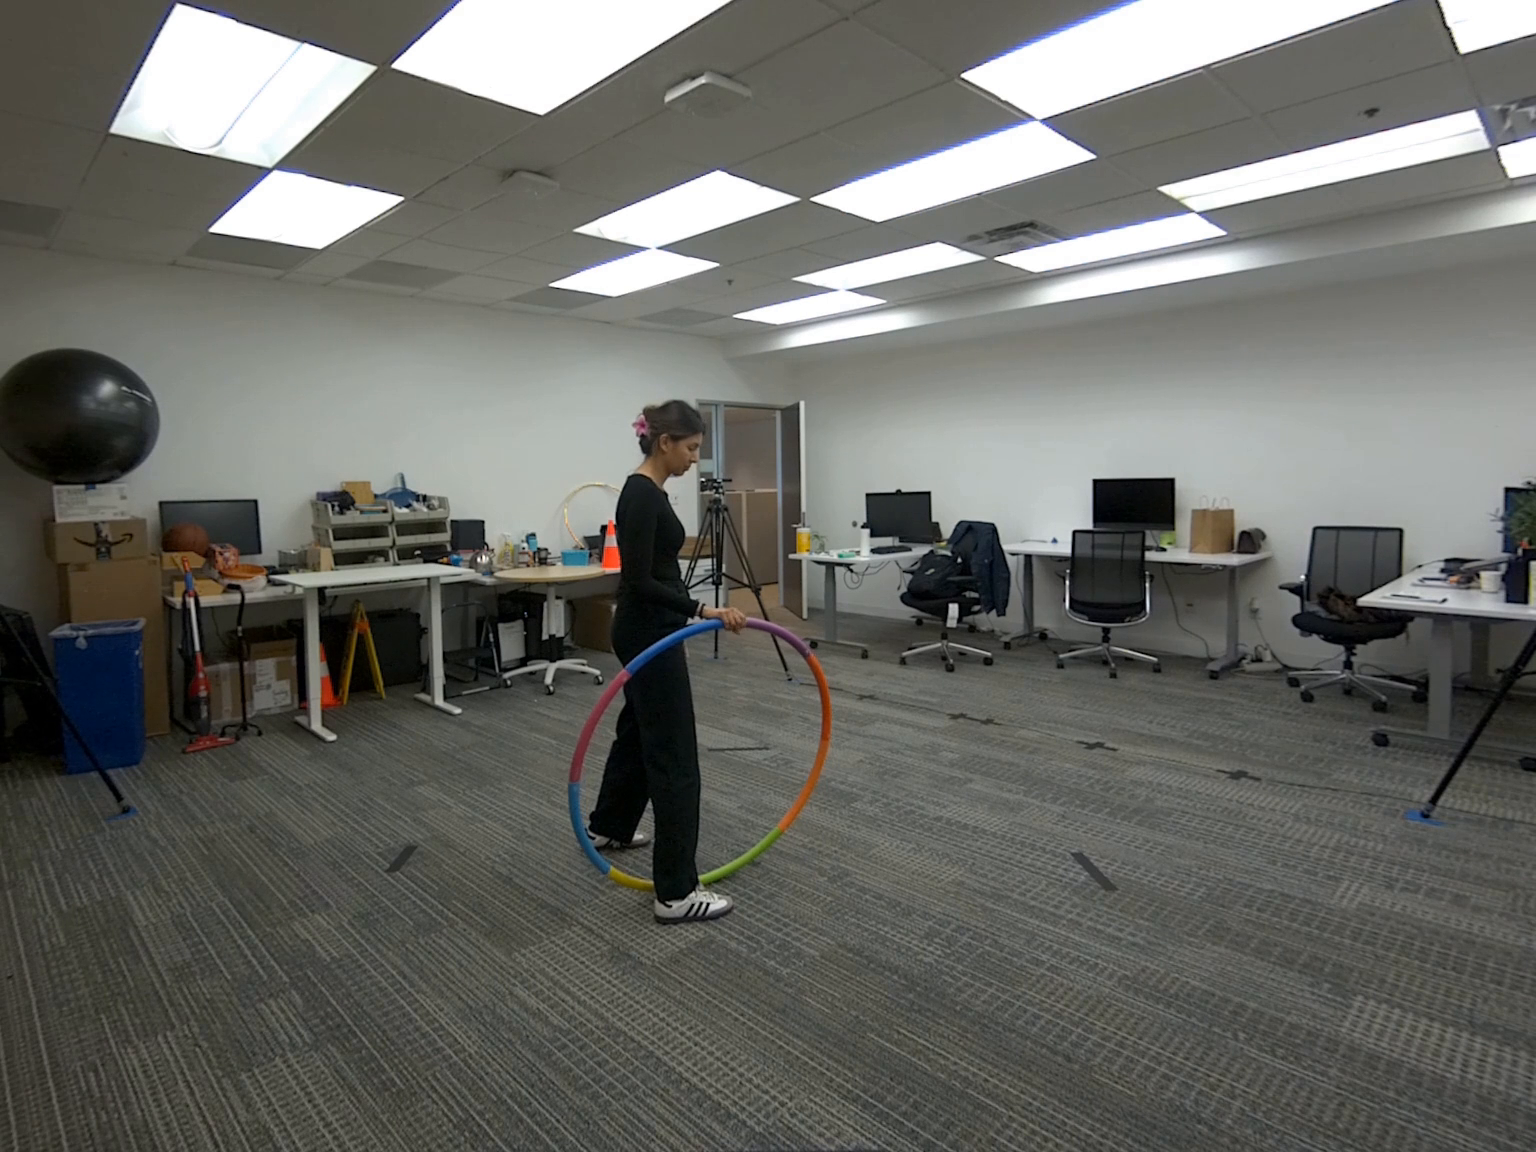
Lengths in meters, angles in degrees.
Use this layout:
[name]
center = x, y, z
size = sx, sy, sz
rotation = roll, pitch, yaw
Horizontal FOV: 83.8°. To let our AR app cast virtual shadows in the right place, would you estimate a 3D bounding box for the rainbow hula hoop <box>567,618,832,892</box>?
[rainbow hula hoop]
center = -0.190, 0.596, 2.838
size = 0.955, 0.968, 0.037
rotation = -4, 16, -33
